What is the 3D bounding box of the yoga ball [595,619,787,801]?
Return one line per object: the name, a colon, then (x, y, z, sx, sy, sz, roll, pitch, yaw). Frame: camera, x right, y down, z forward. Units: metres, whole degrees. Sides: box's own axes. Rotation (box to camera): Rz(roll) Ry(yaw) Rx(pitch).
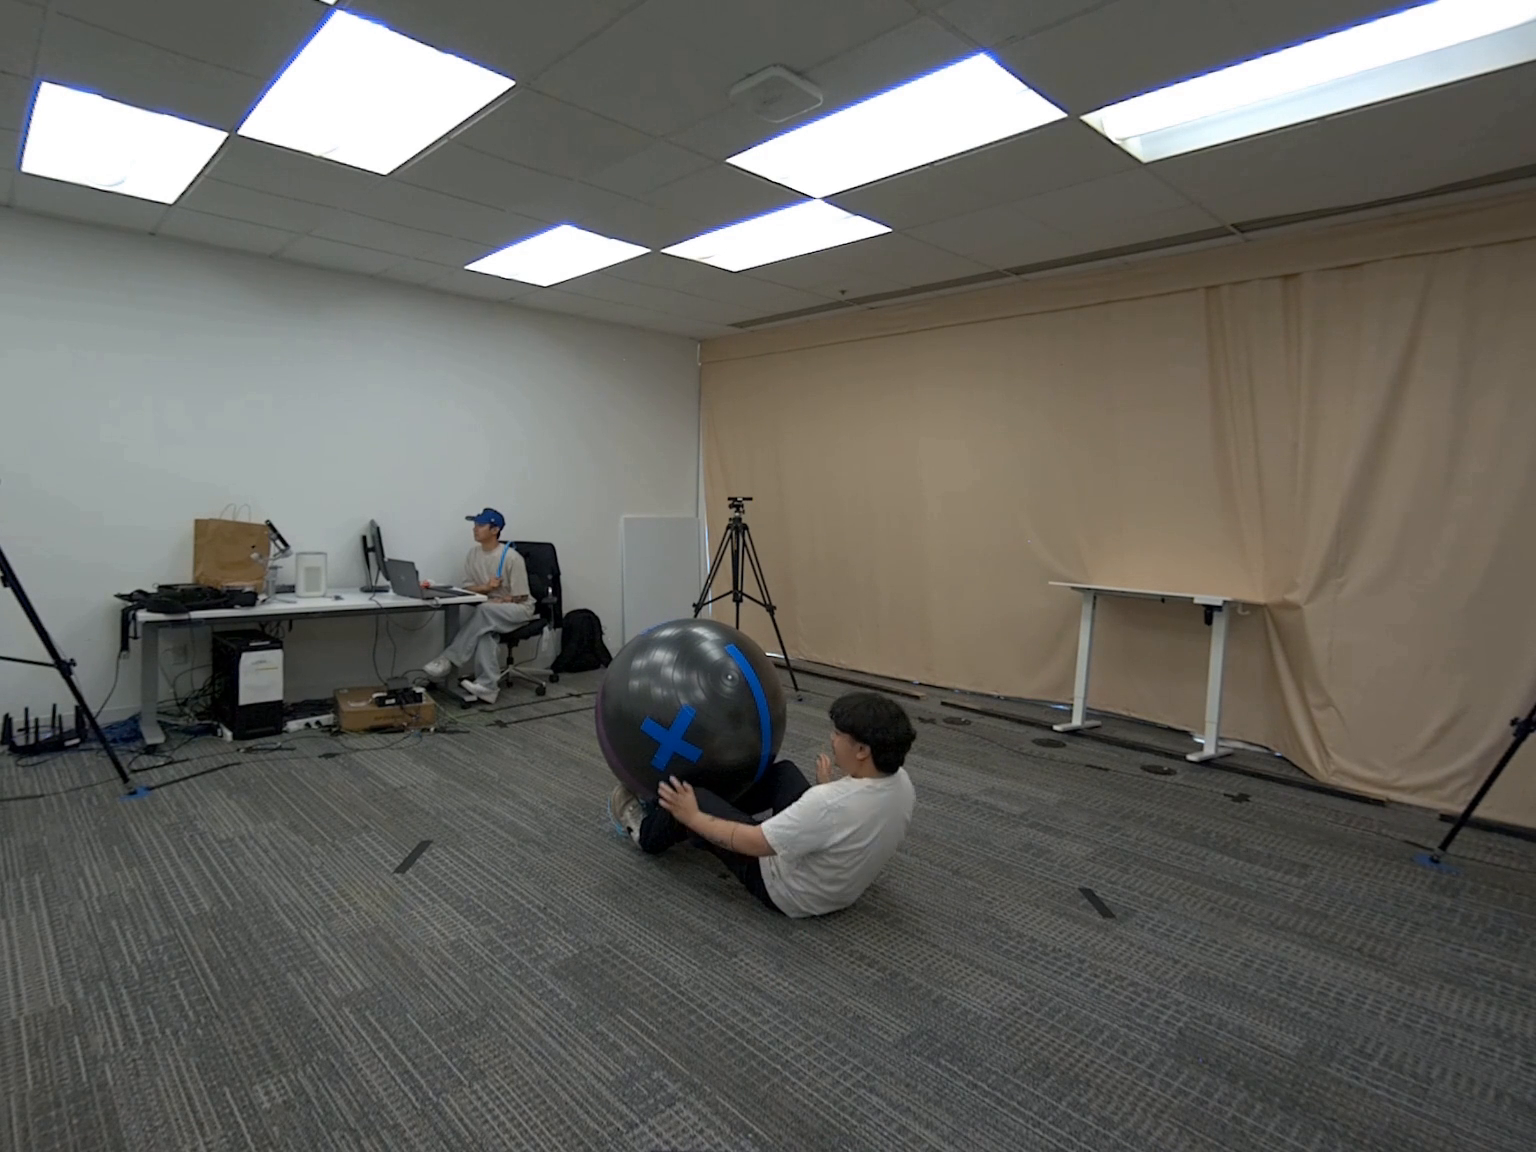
yoga ball: (-0.311, 0.546, 3.356, 0.757, 0.756, 0.760, 1, 4, -1)
